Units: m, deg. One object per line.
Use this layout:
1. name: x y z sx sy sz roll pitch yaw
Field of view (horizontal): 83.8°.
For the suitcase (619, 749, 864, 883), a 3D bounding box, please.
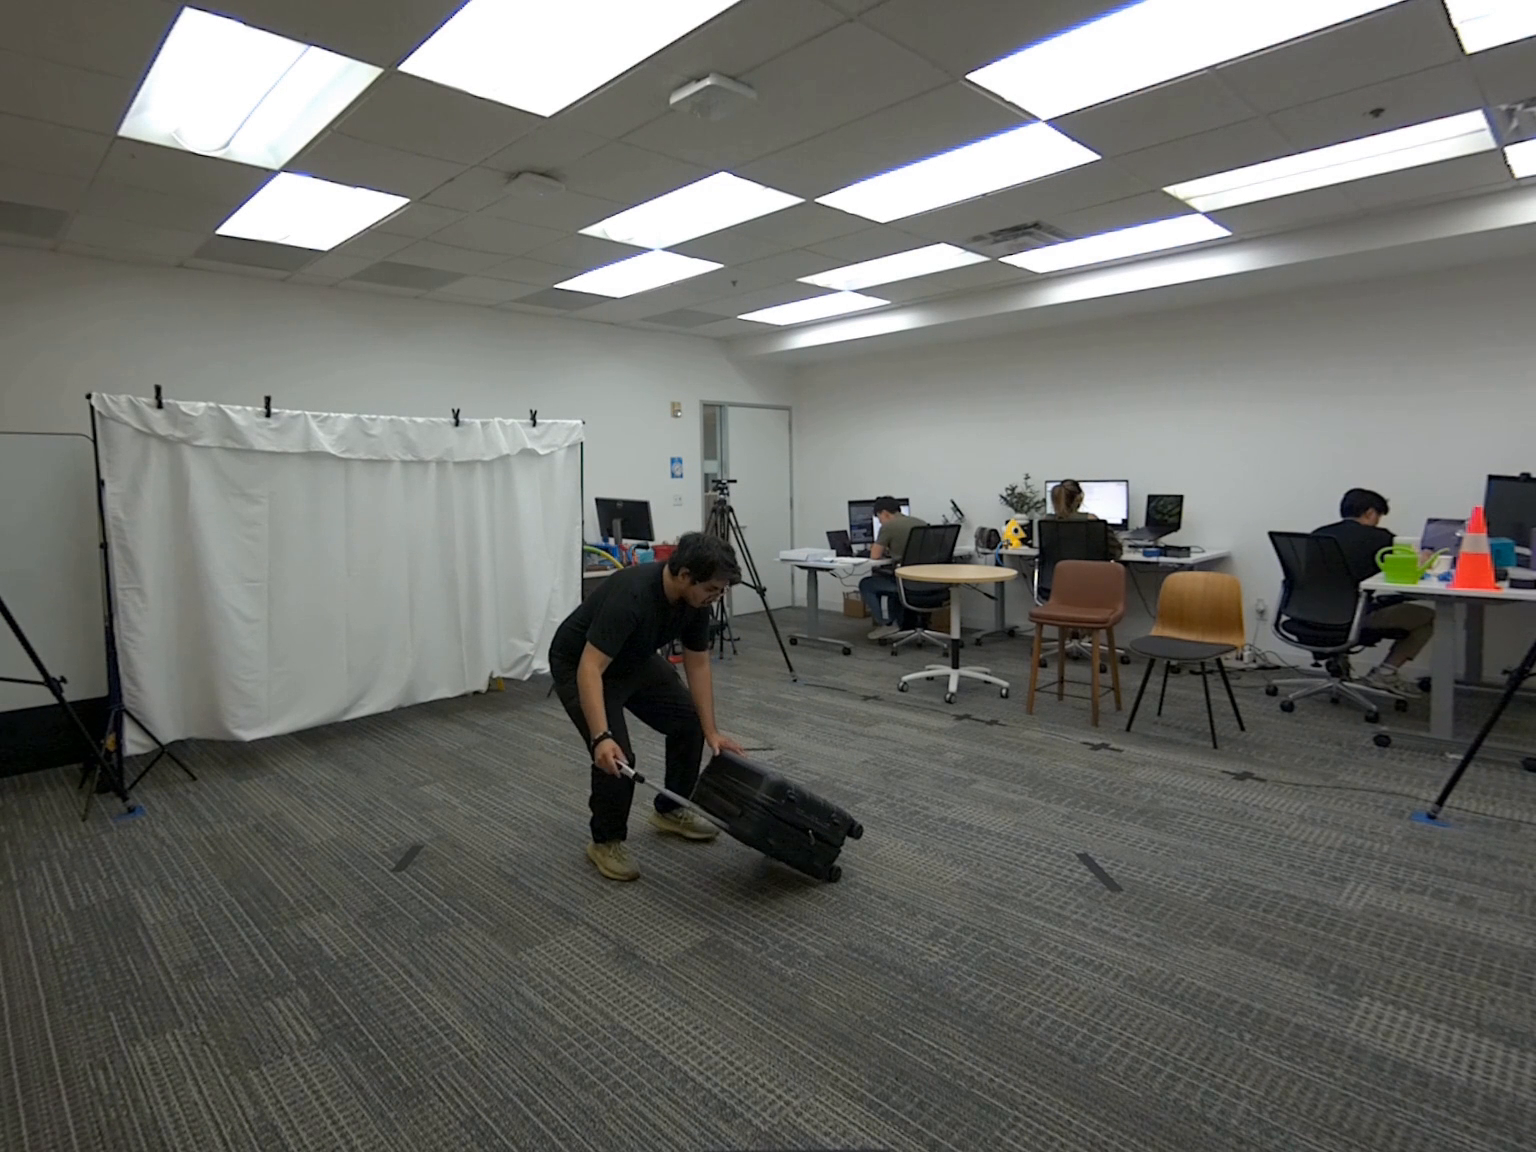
1. suitcase: -0.100 0.718 2.834 0.397 0.258 0.942 13 -22 51
